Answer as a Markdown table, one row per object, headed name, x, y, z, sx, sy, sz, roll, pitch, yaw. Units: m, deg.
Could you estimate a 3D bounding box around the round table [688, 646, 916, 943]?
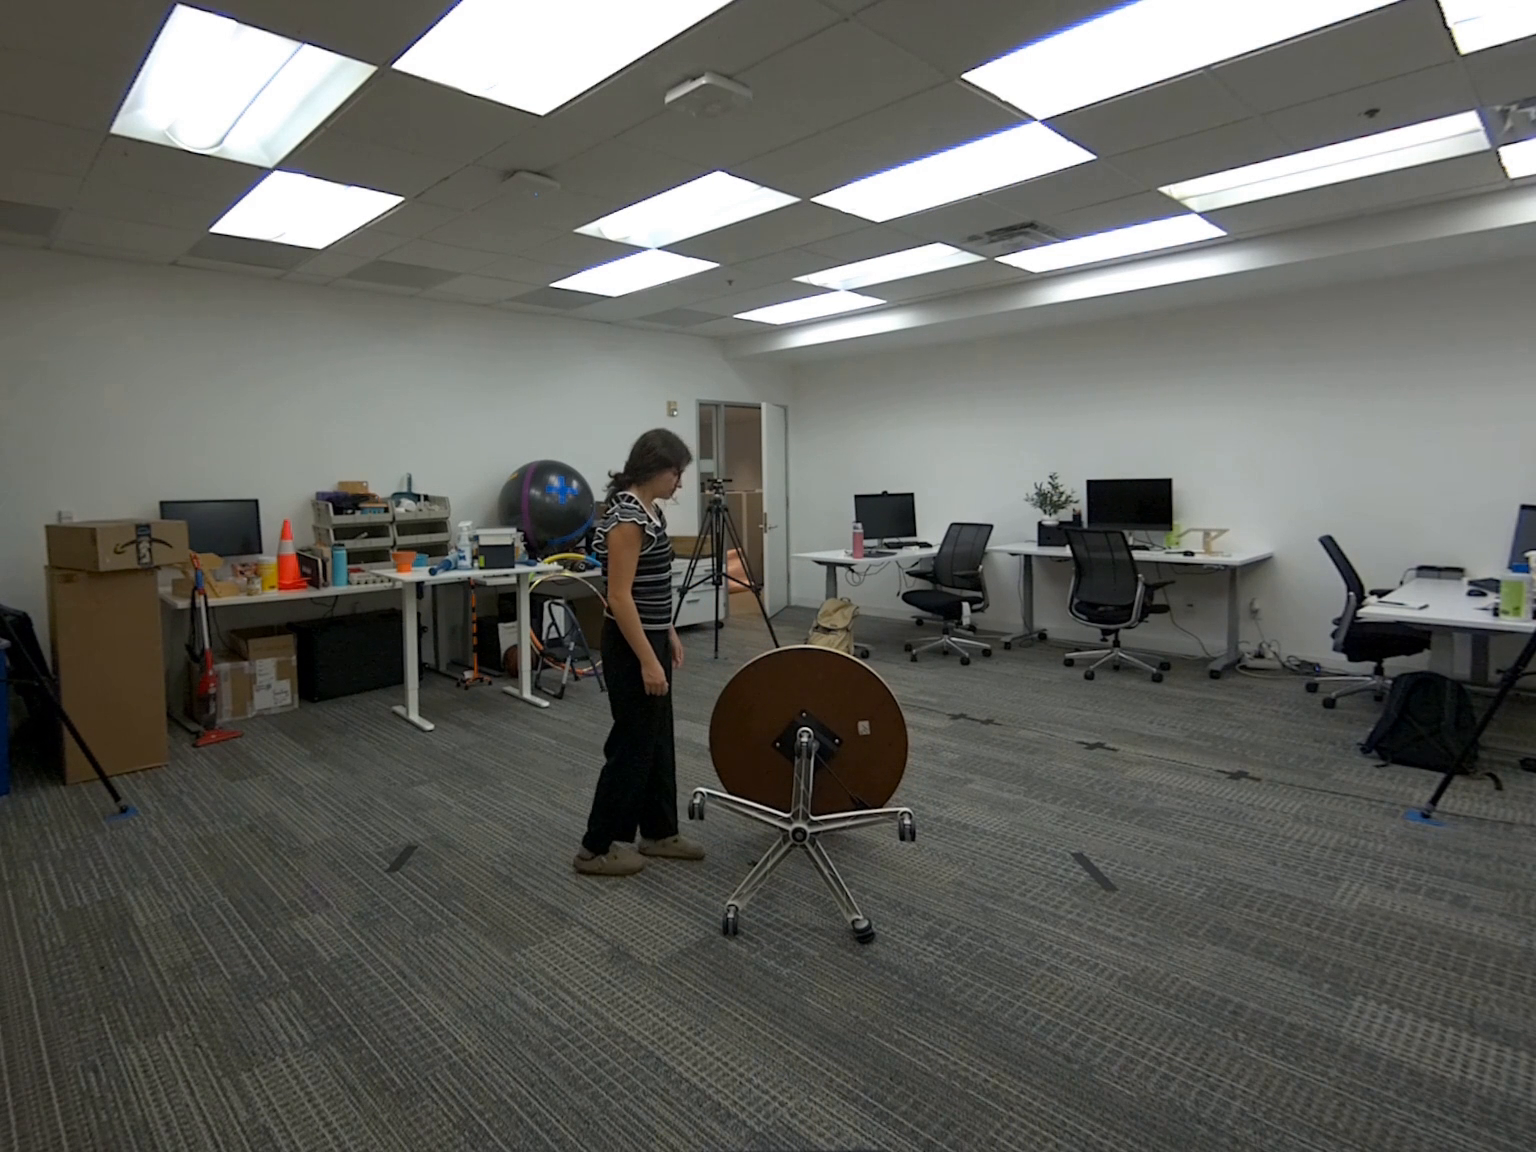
| name | x | y | z | sx | sy | sz | roll | pitch | yaw |
| --- | --- | --- | --- | --- | --- | --- | --- | --- | --- |
| round table | 0.127 | 0.734 | 2.916 | 0.769 | 0.756 | 0.797 | 0 | 11 | 6 |
